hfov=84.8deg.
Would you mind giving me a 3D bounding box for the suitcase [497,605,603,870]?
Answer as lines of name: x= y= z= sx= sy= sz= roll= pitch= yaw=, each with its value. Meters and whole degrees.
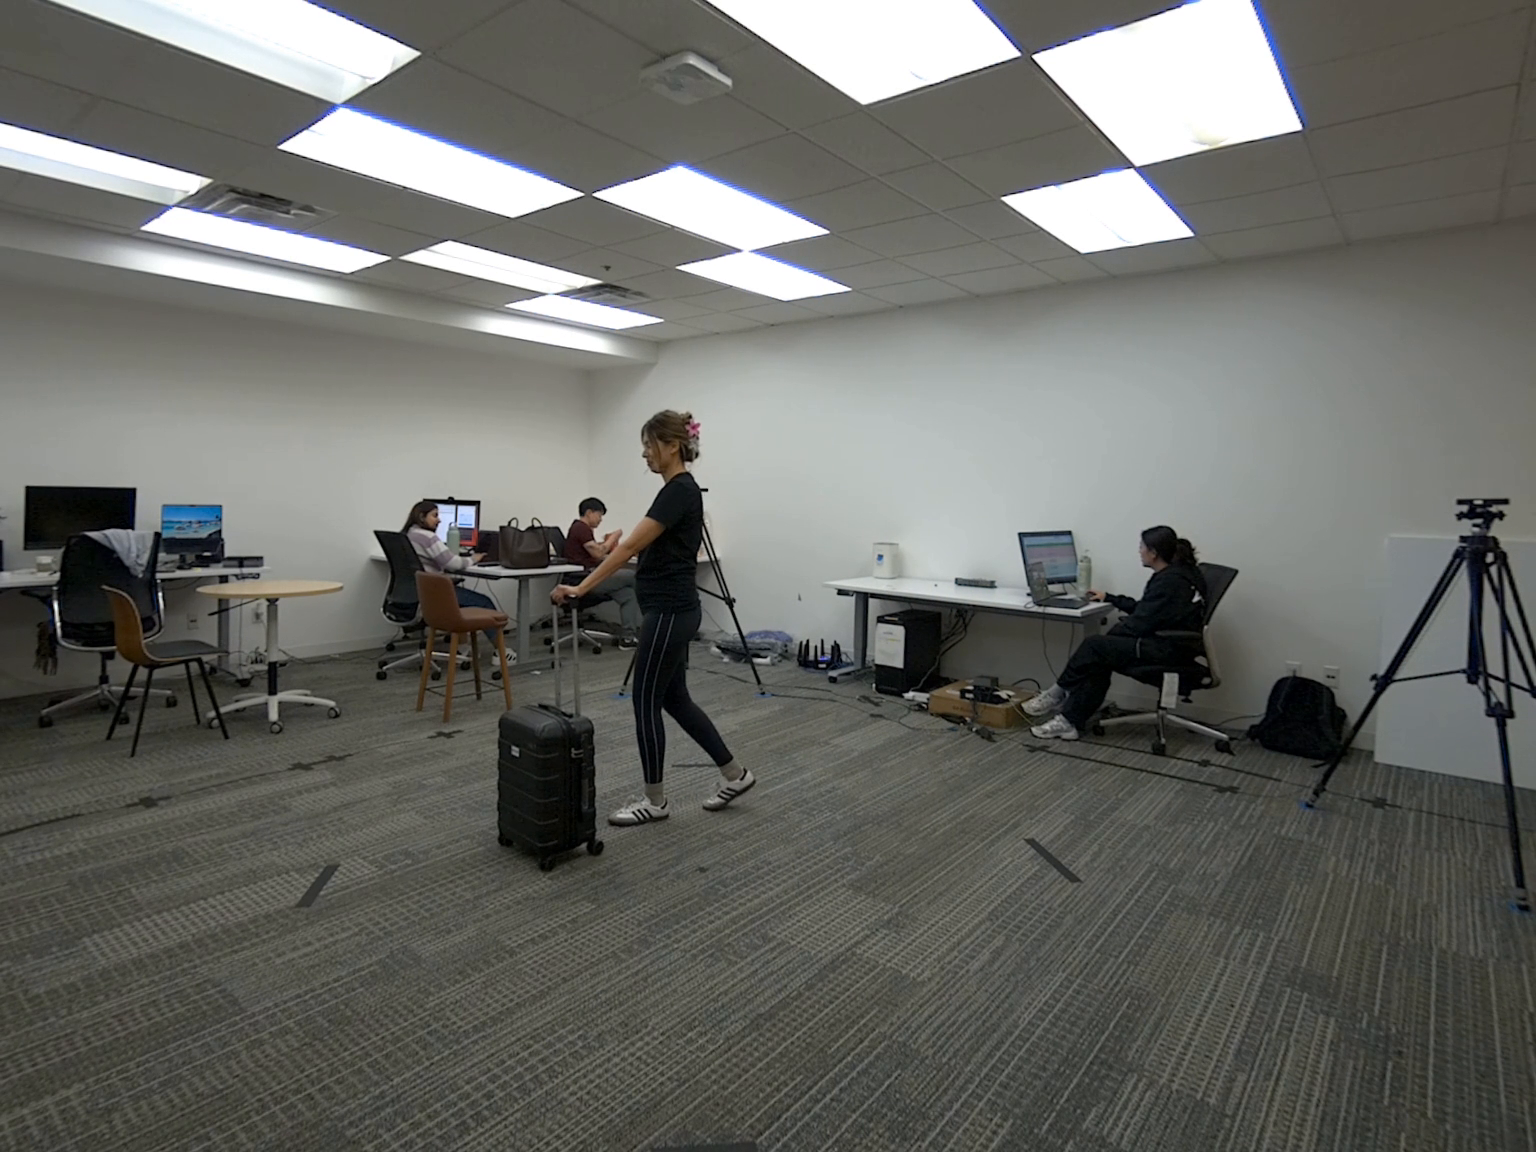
suitcase: x=-0.860 y=0.577 z=3.205 sx=0.250 sy=0.973 sz=0.397 roll=-6 pitch=8 yaw=-43
